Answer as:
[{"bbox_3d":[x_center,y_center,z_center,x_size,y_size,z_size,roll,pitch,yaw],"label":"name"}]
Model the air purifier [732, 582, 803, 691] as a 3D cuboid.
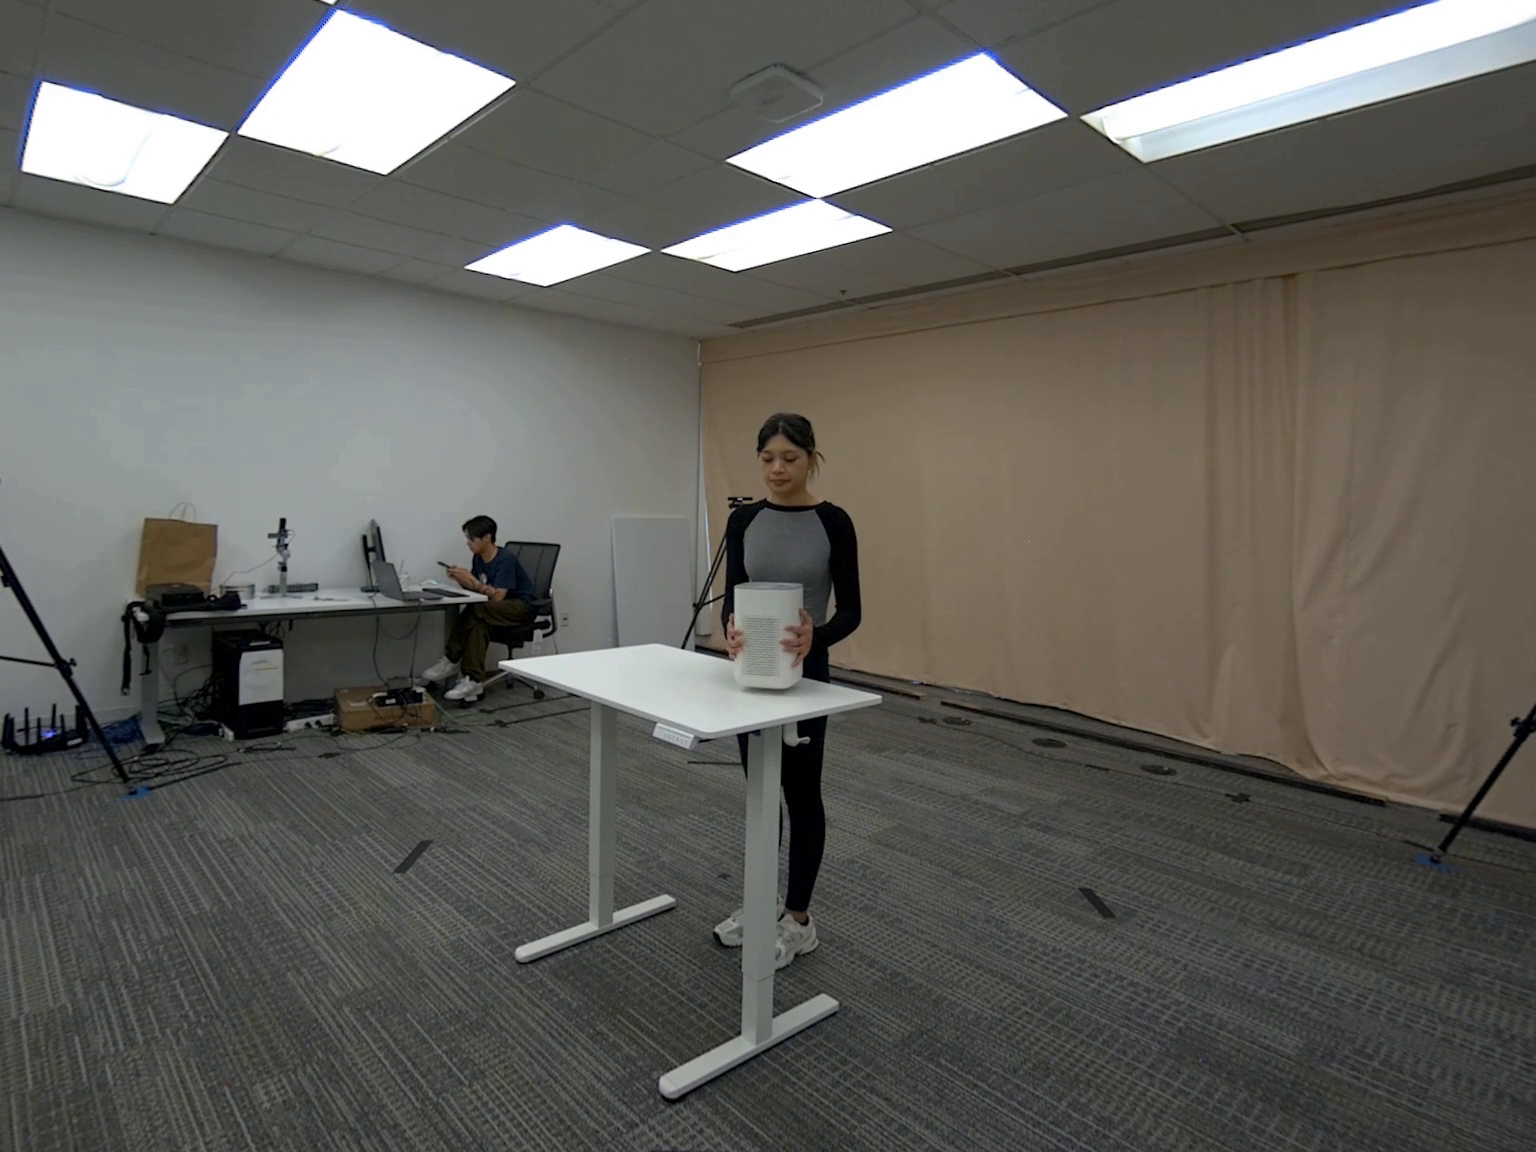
[{"bbox_3d":[-0.013,0.161,2.242,0.174,0.265,0.169,1,2,14],"label":"air purifier"}]
